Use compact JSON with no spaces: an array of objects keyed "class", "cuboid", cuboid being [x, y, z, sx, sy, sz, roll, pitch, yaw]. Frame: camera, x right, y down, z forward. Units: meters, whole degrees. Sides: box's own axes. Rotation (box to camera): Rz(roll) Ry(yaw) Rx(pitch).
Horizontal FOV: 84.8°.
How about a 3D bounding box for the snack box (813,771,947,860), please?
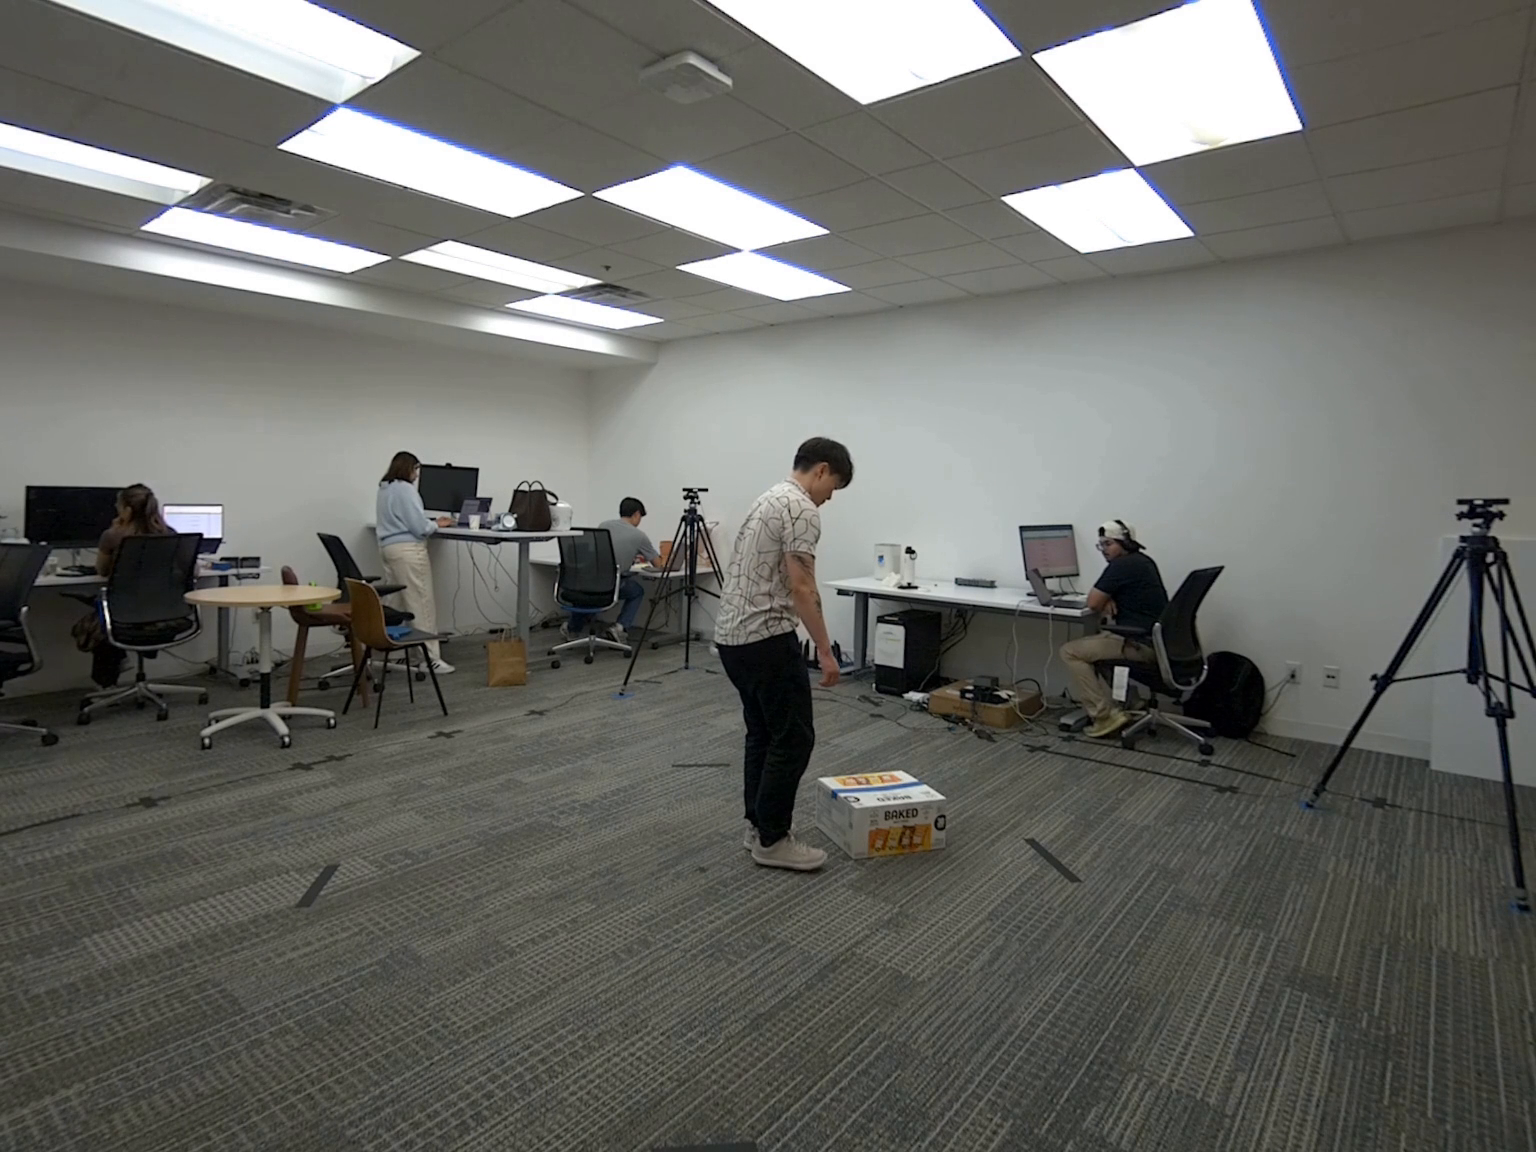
[{"class":"snack box","cuboid":[0.444,0.952,3.427,0.397,0.205,0.348,0,5,-20]}]
